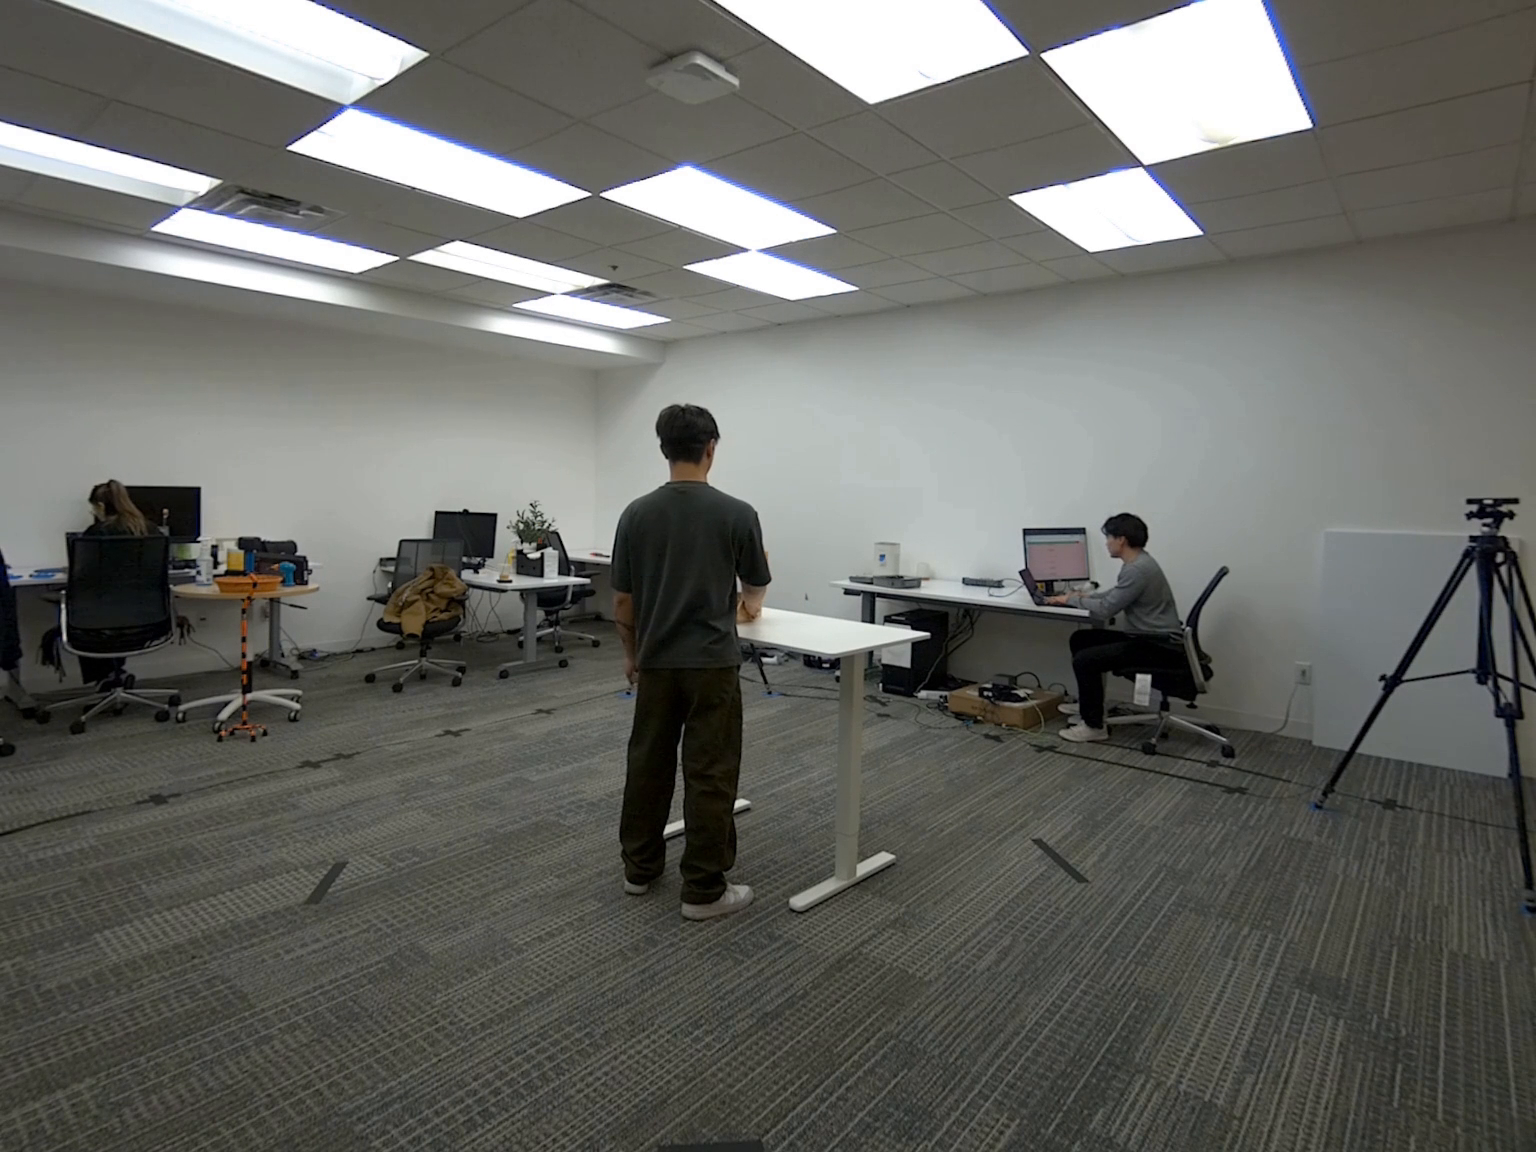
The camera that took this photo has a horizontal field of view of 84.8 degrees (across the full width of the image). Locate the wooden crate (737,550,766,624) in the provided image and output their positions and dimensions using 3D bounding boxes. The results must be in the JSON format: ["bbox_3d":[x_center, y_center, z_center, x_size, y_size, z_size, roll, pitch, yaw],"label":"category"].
[{"bbox_3d":[-0.207,0.025,3.355,0.332,0.272,0.296,3,4,23],"label":"wooden crate"}]
